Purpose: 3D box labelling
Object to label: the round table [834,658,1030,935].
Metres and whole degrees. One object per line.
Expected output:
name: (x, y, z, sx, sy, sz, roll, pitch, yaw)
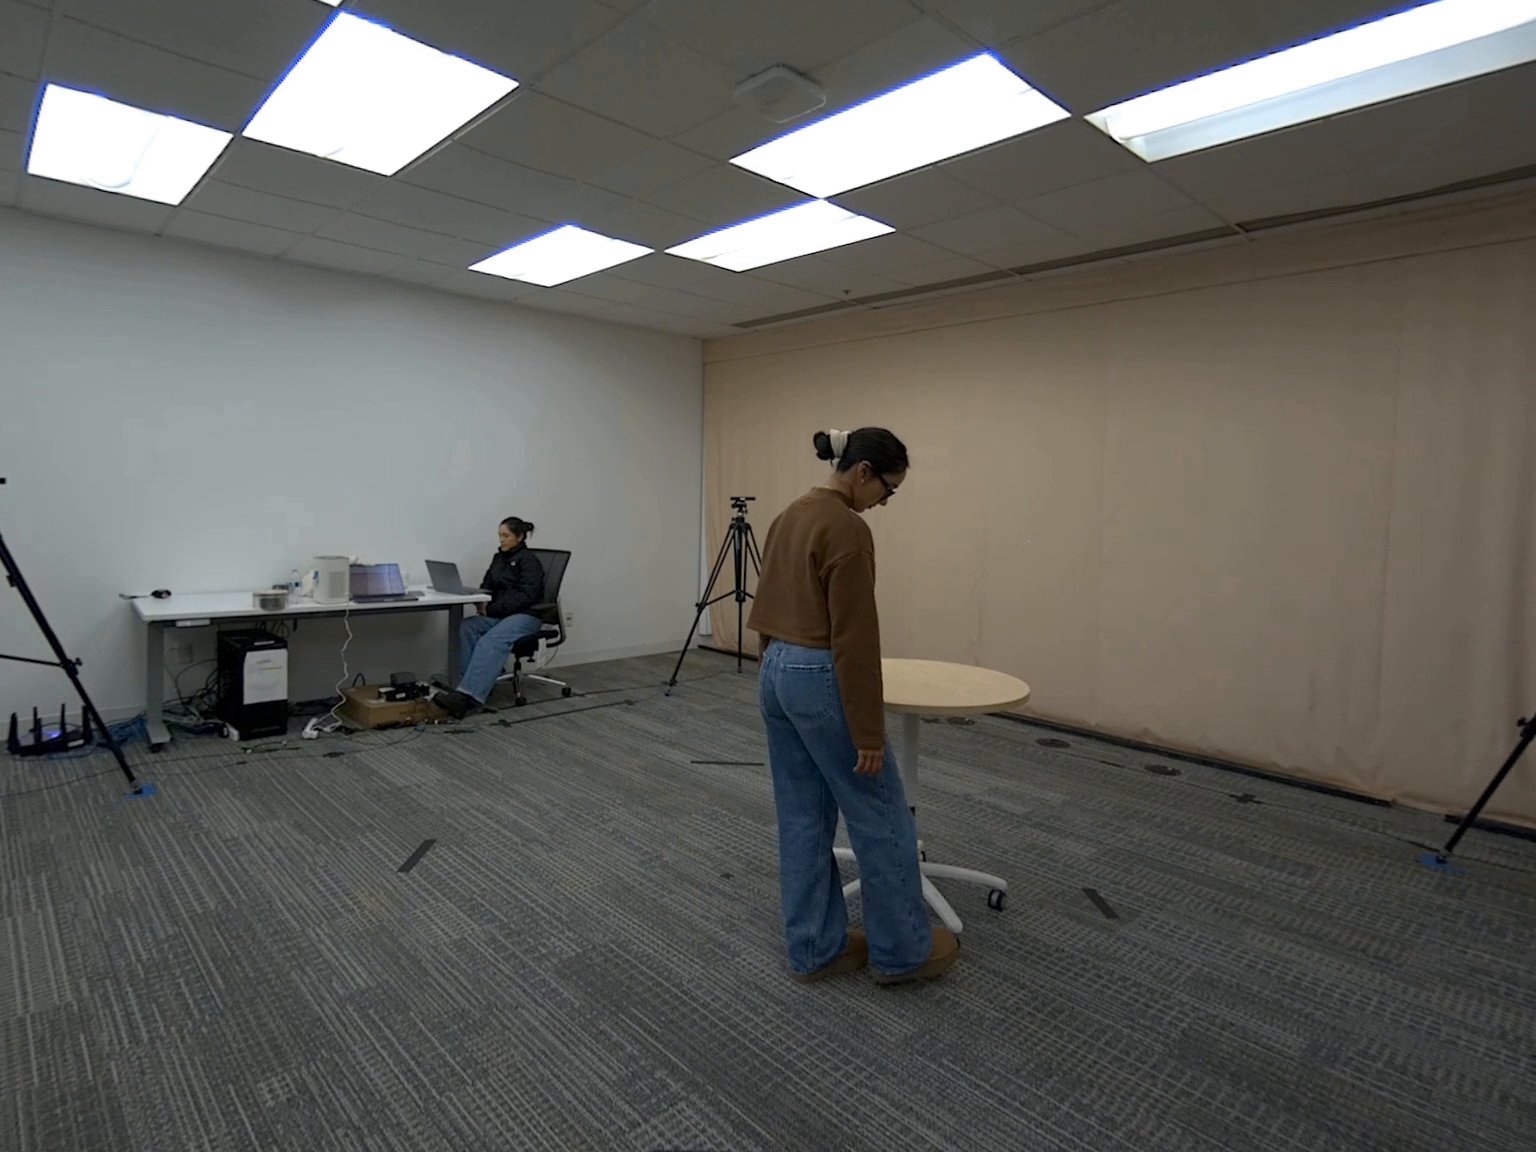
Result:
round table: (0.475, 0.748, 2.920, 0.763, 0.792, 0.766, 1, 4, -1)
